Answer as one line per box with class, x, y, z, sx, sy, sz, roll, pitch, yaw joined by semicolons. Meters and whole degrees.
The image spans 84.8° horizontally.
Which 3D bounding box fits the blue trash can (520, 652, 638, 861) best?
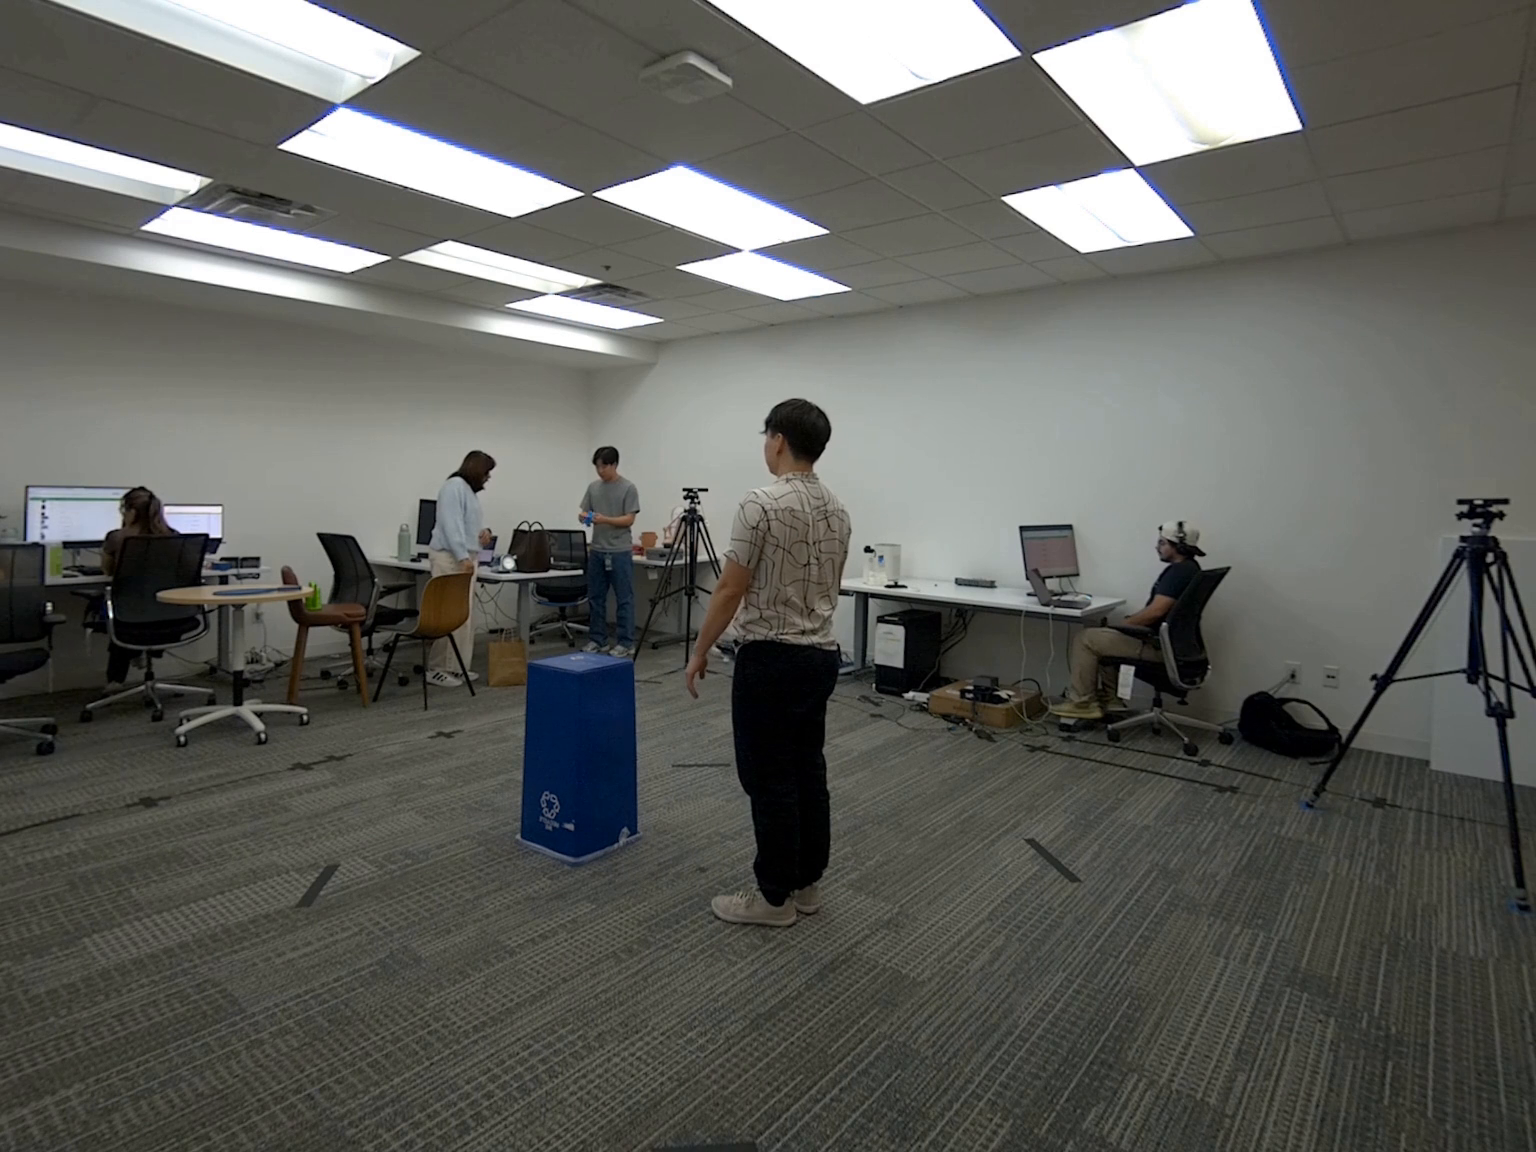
blue trash can;-0.754;0.684;3.349;0.386;0.712;0.367;2;2;37
